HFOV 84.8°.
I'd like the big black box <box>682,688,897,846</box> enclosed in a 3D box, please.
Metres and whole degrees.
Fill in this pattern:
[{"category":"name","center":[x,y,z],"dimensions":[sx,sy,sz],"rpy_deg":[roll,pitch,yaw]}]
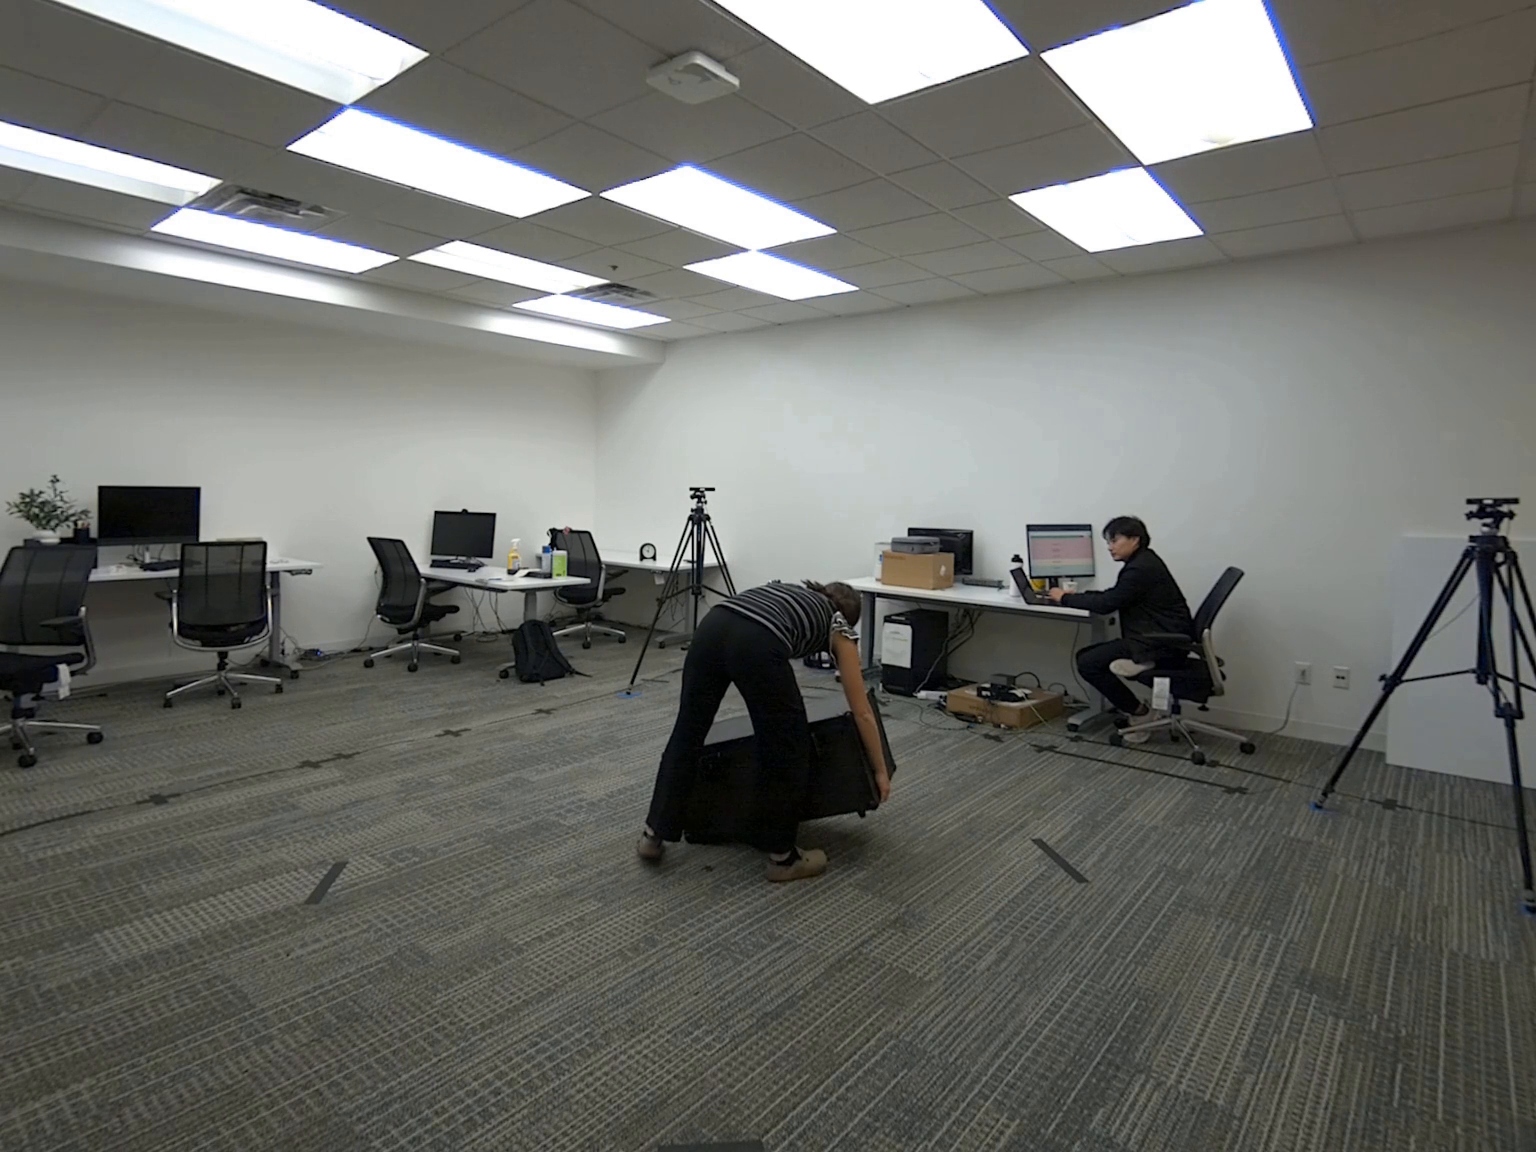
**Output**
[{"category":"big black box","center":[0.030,0.765,3.457],"dimensions":[0.873,0.397,0.513],"rpy_deg":[-15,-1,18]}]
